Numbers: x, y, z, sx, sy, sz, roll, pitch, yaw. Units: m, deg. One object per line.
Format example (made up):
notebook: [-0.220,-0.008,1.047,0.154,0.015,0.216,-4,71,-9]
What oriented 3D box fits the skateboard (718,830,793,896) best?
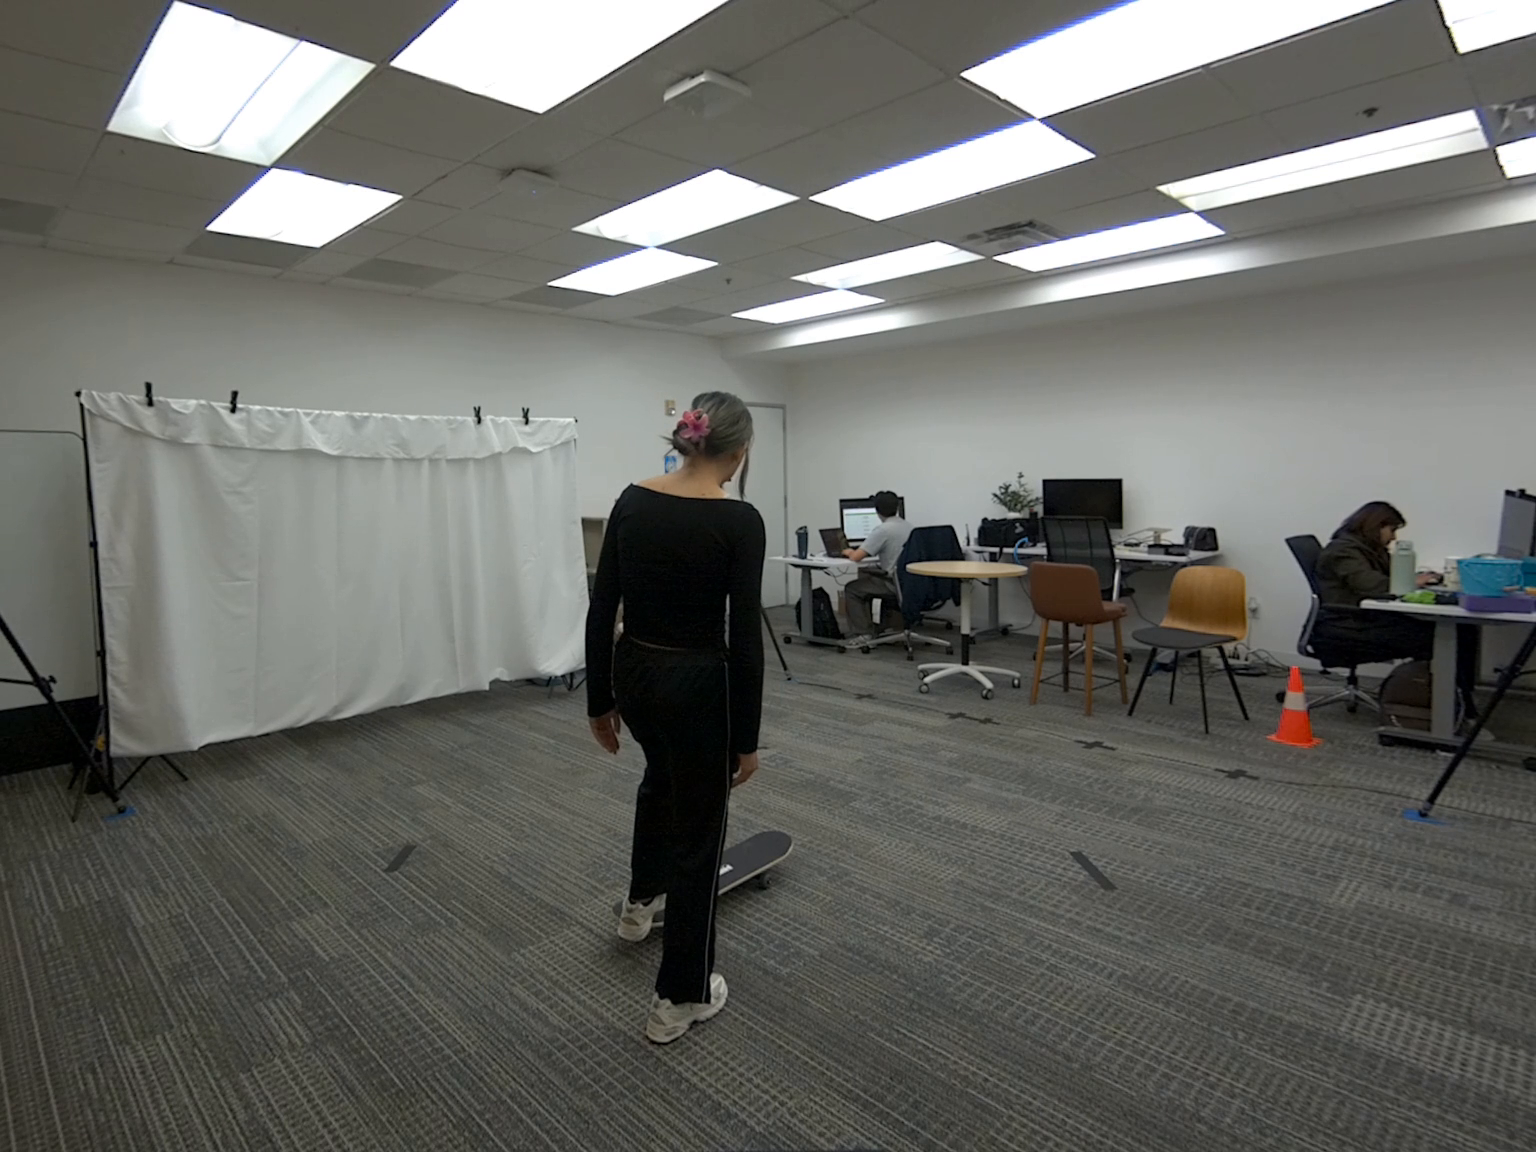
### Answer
skateboard: [-0.188,1.024,2.816,0.199,0.110,0.766,3,8,40]
